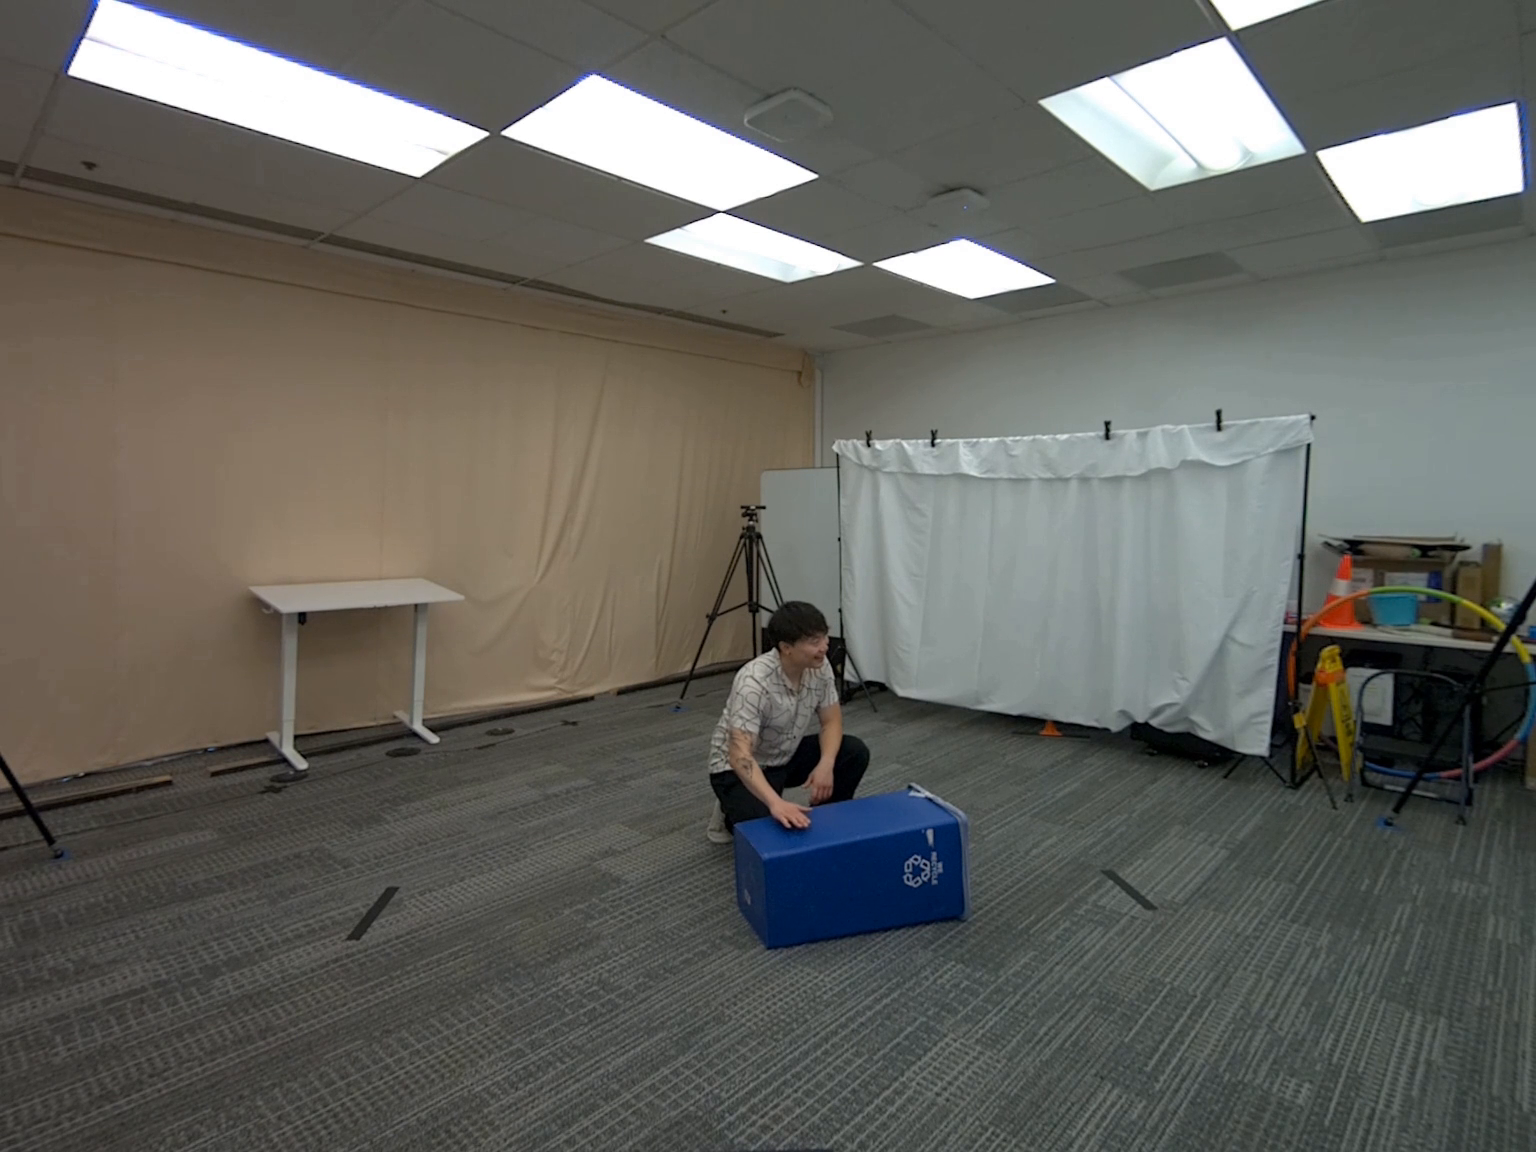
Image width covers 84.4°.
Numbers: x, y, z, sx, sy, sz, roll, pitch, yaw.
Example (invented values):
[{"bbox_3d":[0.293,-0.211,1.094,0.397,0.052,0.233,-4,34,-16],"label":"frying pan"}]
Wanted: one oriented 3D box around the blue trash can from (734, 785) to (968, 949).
[{"bbox_3d":[0.276,0.981,2.872,0.702,0.373,0.385,-5,4,-17],"label":"blue trash can"}]
